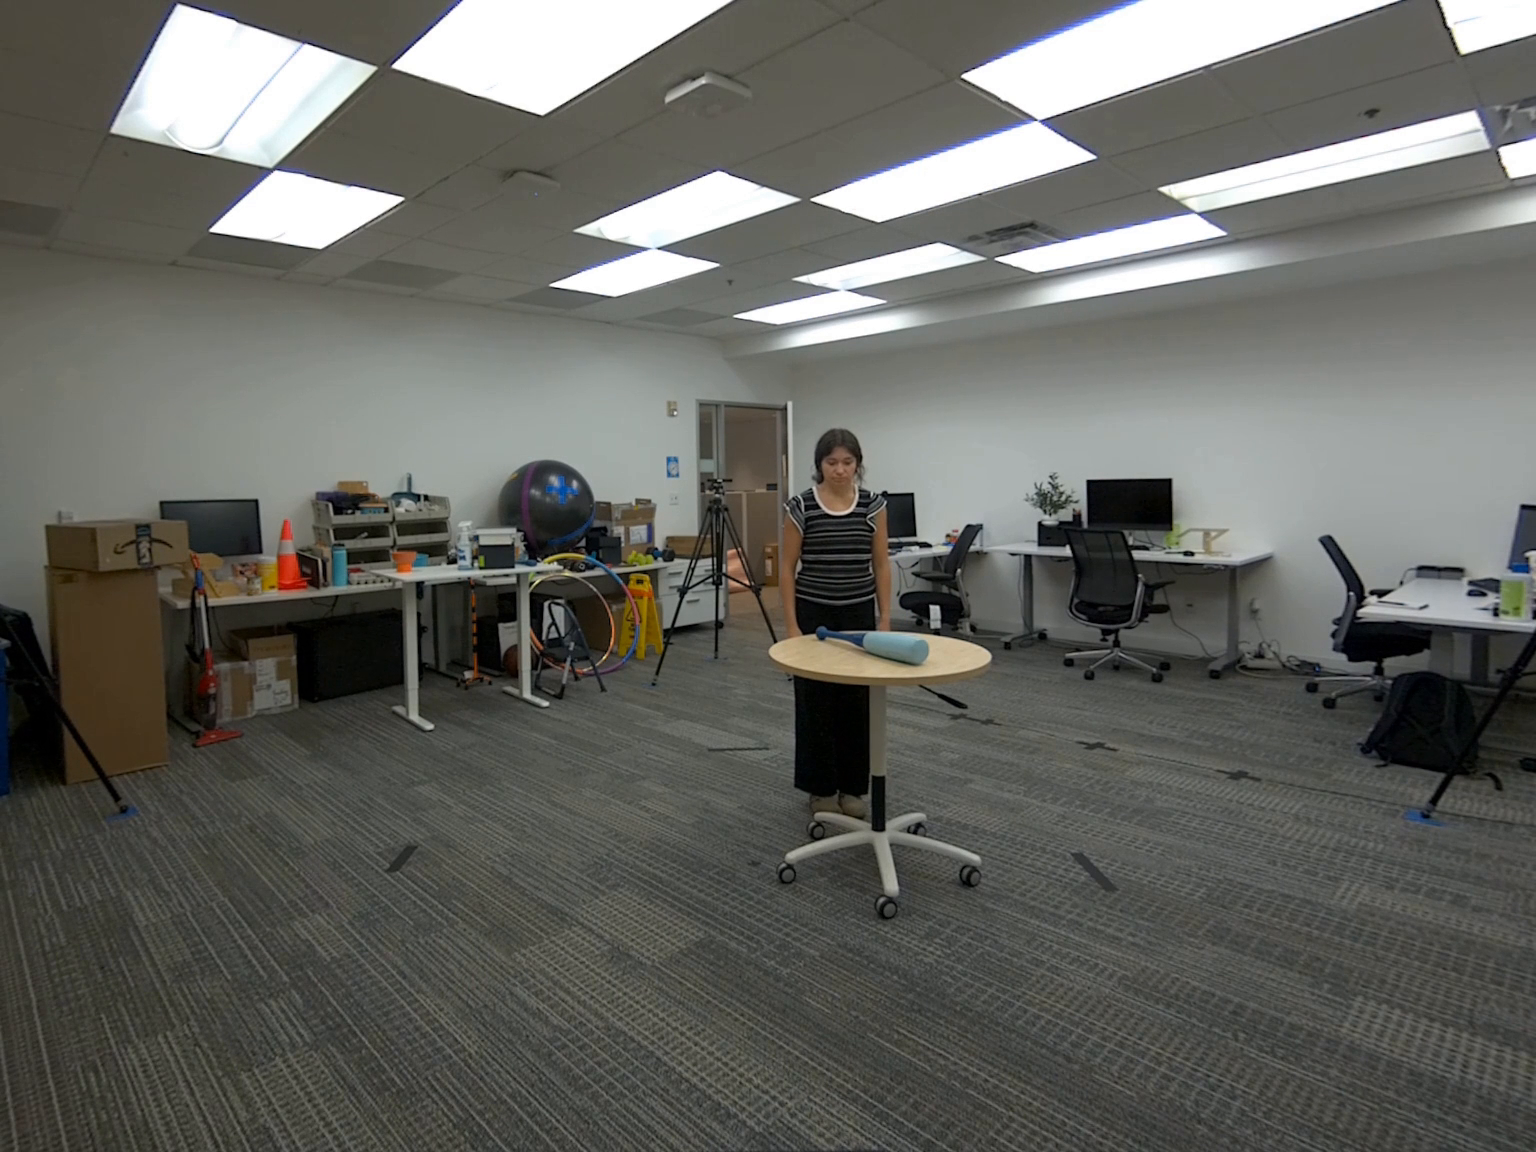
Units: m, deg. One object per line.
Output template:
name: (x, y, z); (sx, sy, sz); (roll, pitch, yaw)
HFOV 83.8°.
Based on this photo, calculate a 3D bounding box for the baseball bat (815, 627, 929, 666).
baseball bat: (0.343, 0.235, 3.001); (0.087, 0.089, 0.557); (-4, 5, -32)
